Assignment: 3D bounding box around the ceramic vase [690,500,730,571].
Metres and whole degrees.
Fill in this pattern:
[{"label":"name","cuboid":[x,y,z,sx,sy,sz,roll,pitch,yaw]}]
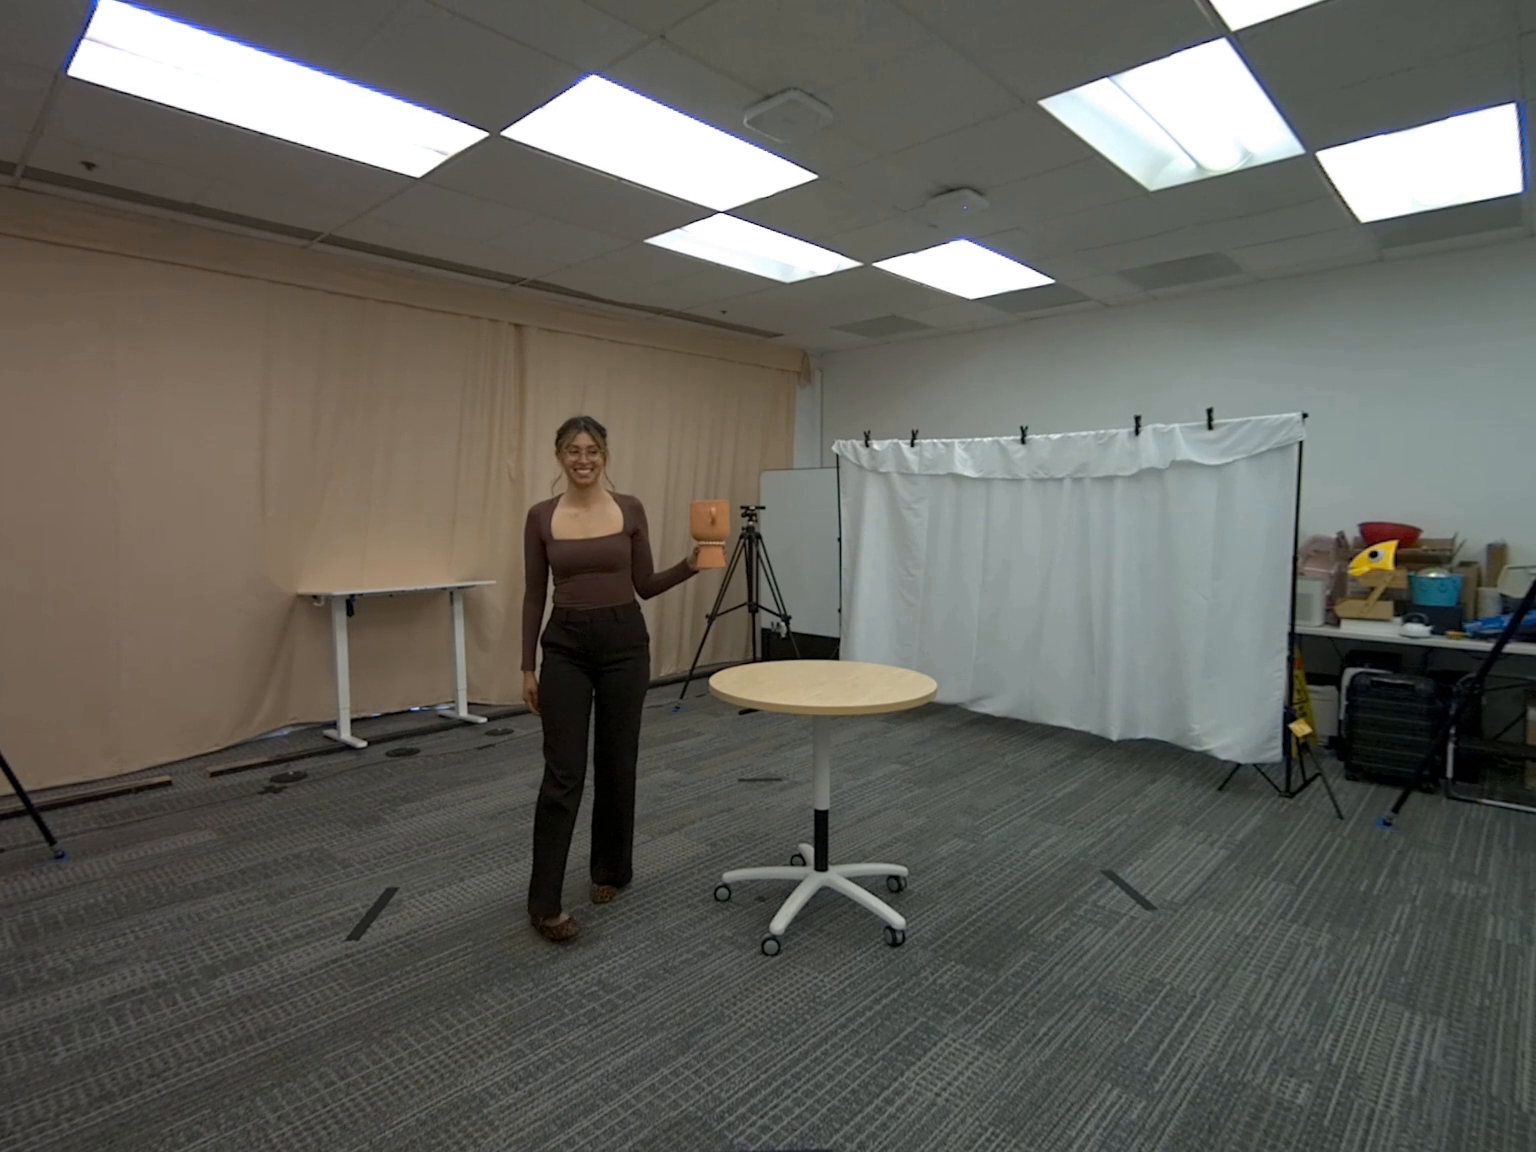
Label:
[{"label":"ceramic vase","cuboid":[-0.192,-0.138,2.797,0.138,0.219,0.155,1,3,28]}]
